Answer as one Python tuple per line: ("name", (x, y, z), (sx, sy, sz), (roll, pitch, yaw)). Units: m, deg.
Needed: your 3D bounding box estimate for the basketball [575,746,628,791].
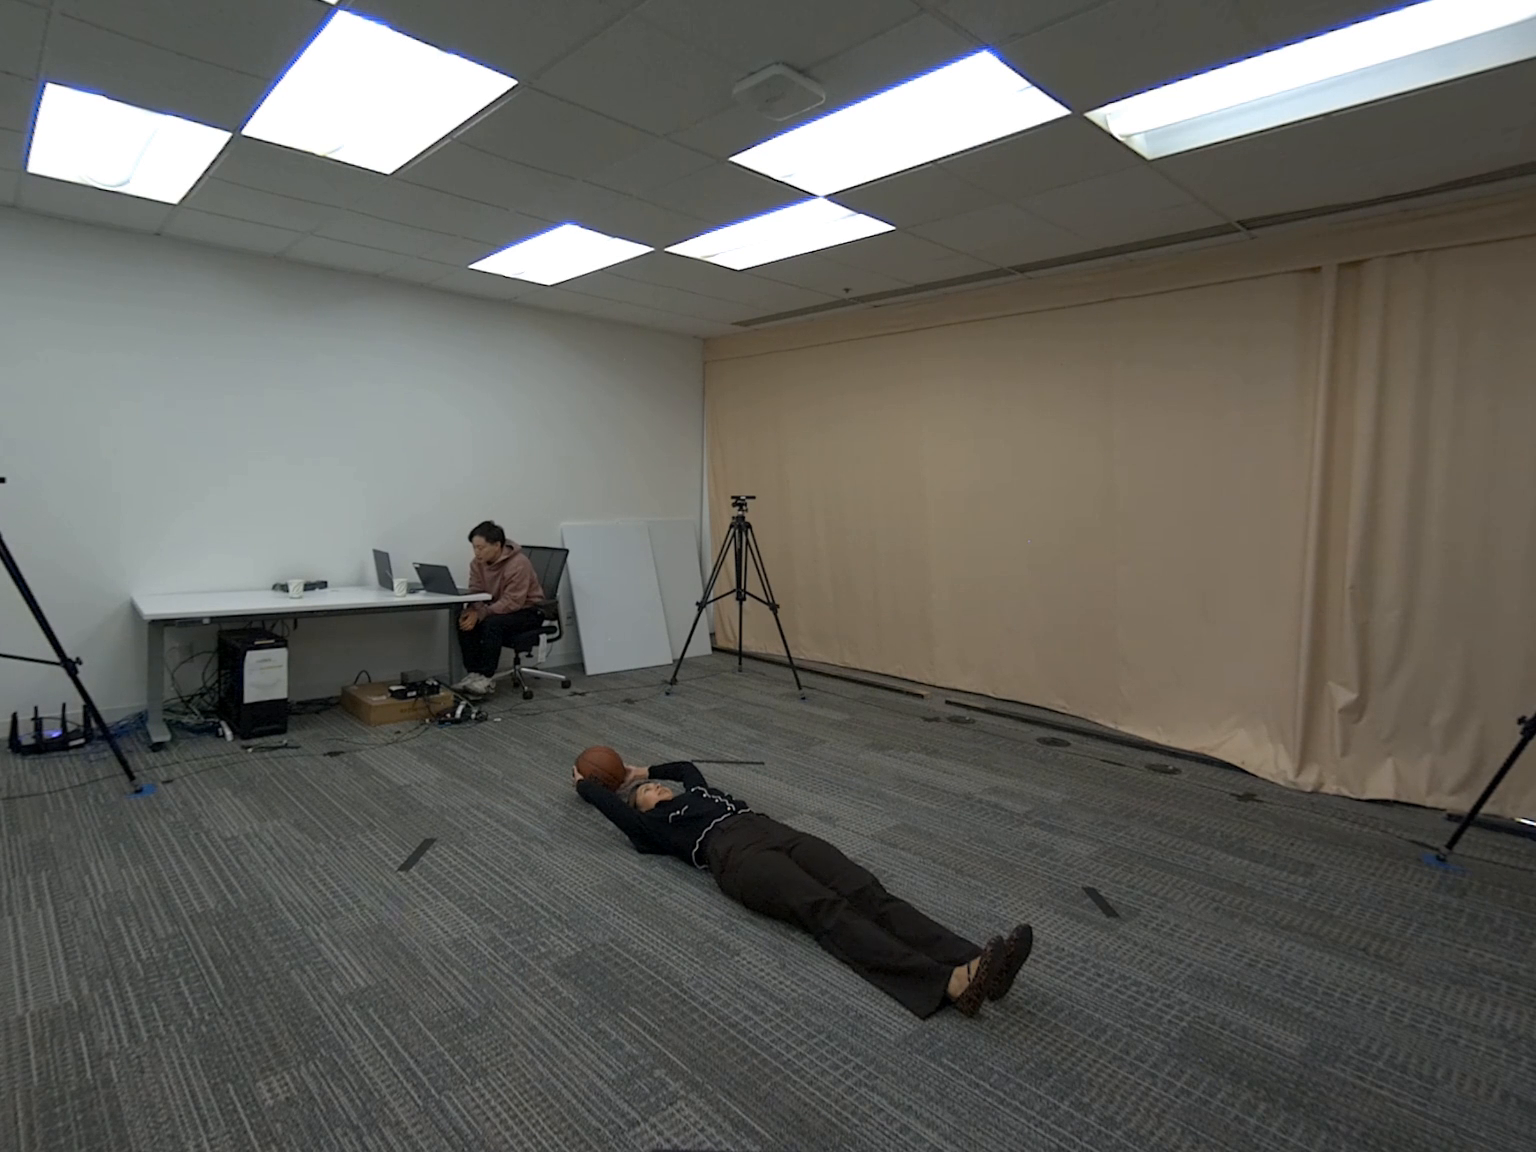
("basketball", (-0.789, 0.903, 3.875), (0.236, 0.235, 0.237), (1, 4, -1))
